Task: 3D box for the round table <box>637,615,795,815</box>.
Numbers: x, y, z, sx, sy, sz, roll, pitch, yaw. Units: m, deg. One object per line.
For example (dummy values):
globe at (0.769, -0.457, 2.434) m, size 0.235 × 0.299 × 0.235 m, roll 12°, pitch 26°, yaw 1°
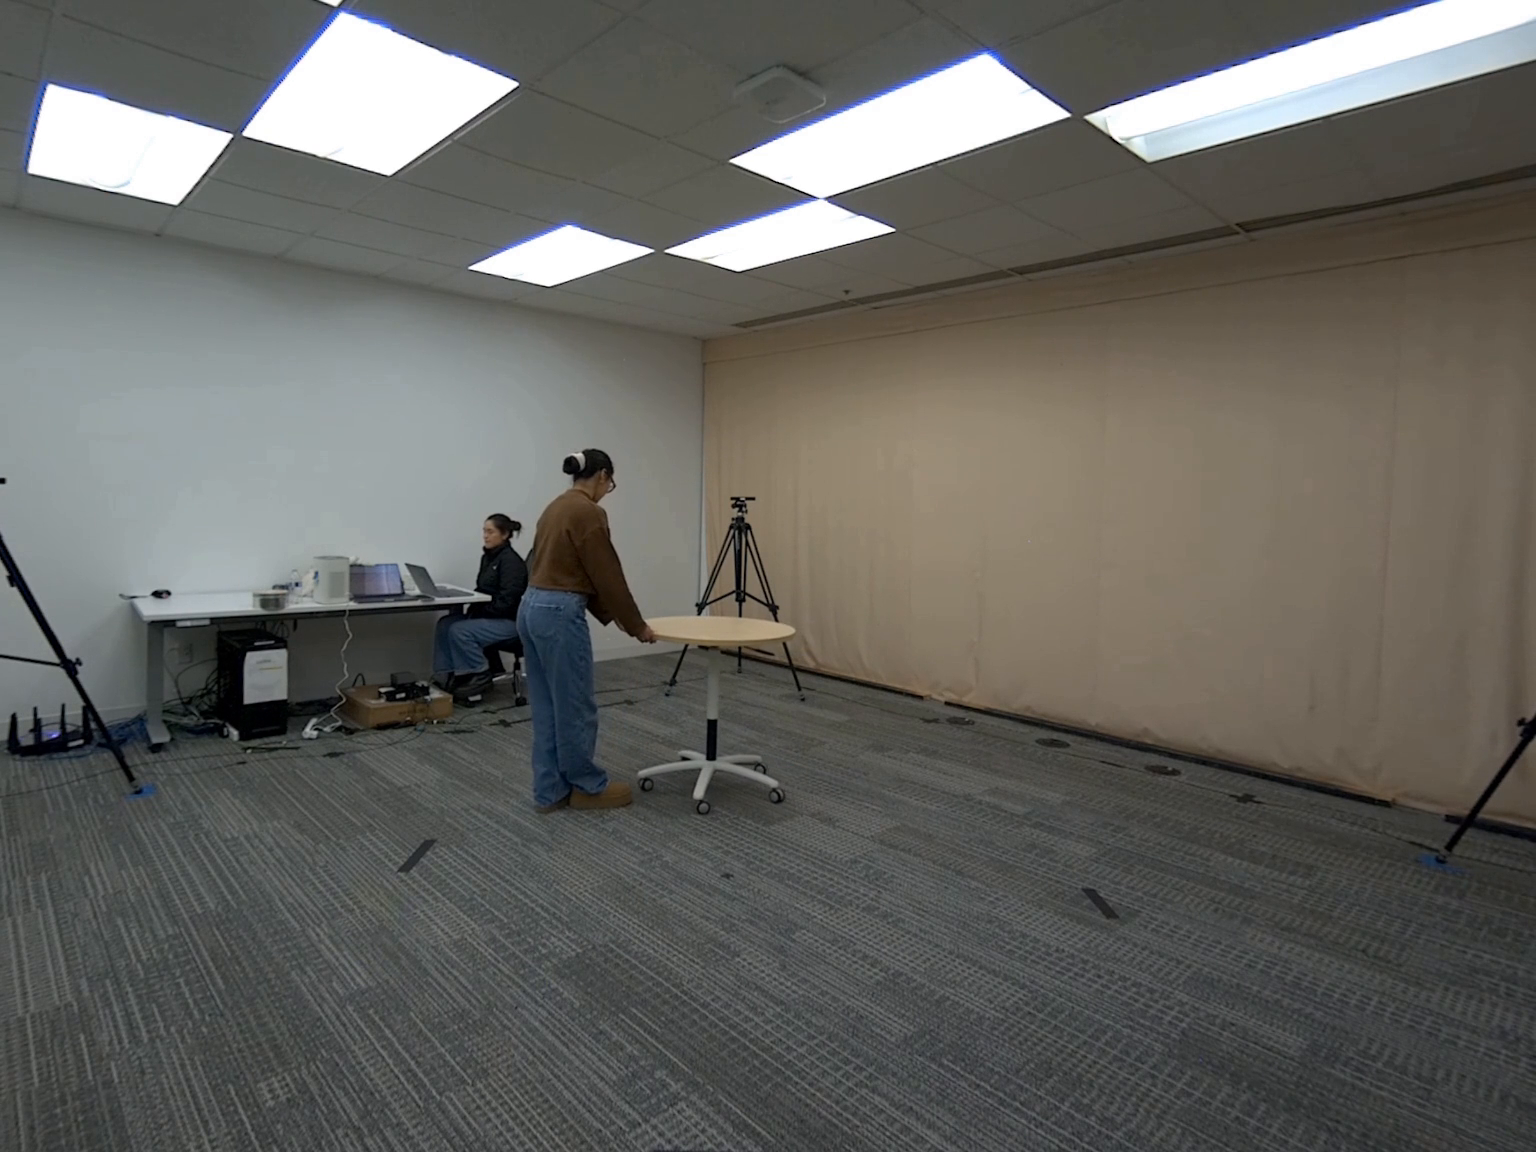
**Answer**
round table at (-0.273, 0.636, 4.028) m, size 0.763 × 0.792 × 0.766 m, roll 2°, pitch 3°, yaw -1°
